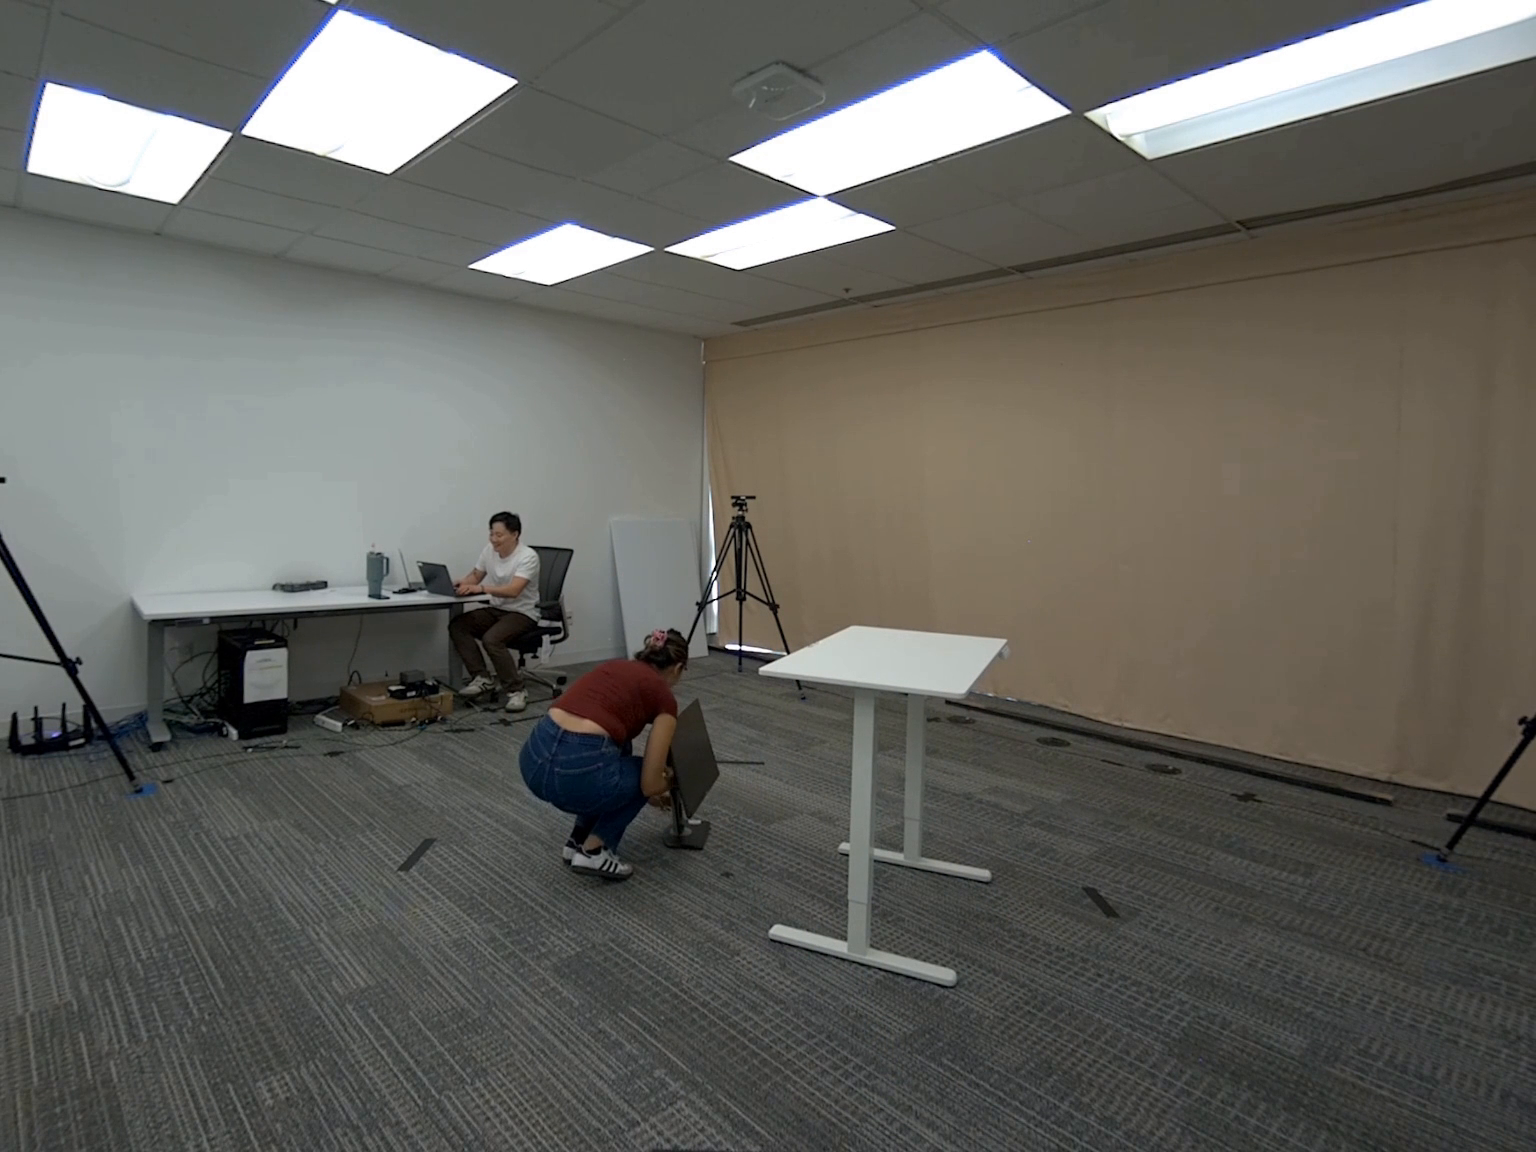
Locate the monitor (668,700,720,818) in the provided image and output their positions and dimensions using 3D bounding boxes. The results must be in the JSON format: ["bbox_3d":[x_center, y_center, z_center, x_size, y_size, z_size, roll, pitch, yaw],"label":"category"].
[{"bbox_3d":[-0.344,0.818,3.446,0.188,0.521,0.538,-1,5,6],"label":"monitor"}]
